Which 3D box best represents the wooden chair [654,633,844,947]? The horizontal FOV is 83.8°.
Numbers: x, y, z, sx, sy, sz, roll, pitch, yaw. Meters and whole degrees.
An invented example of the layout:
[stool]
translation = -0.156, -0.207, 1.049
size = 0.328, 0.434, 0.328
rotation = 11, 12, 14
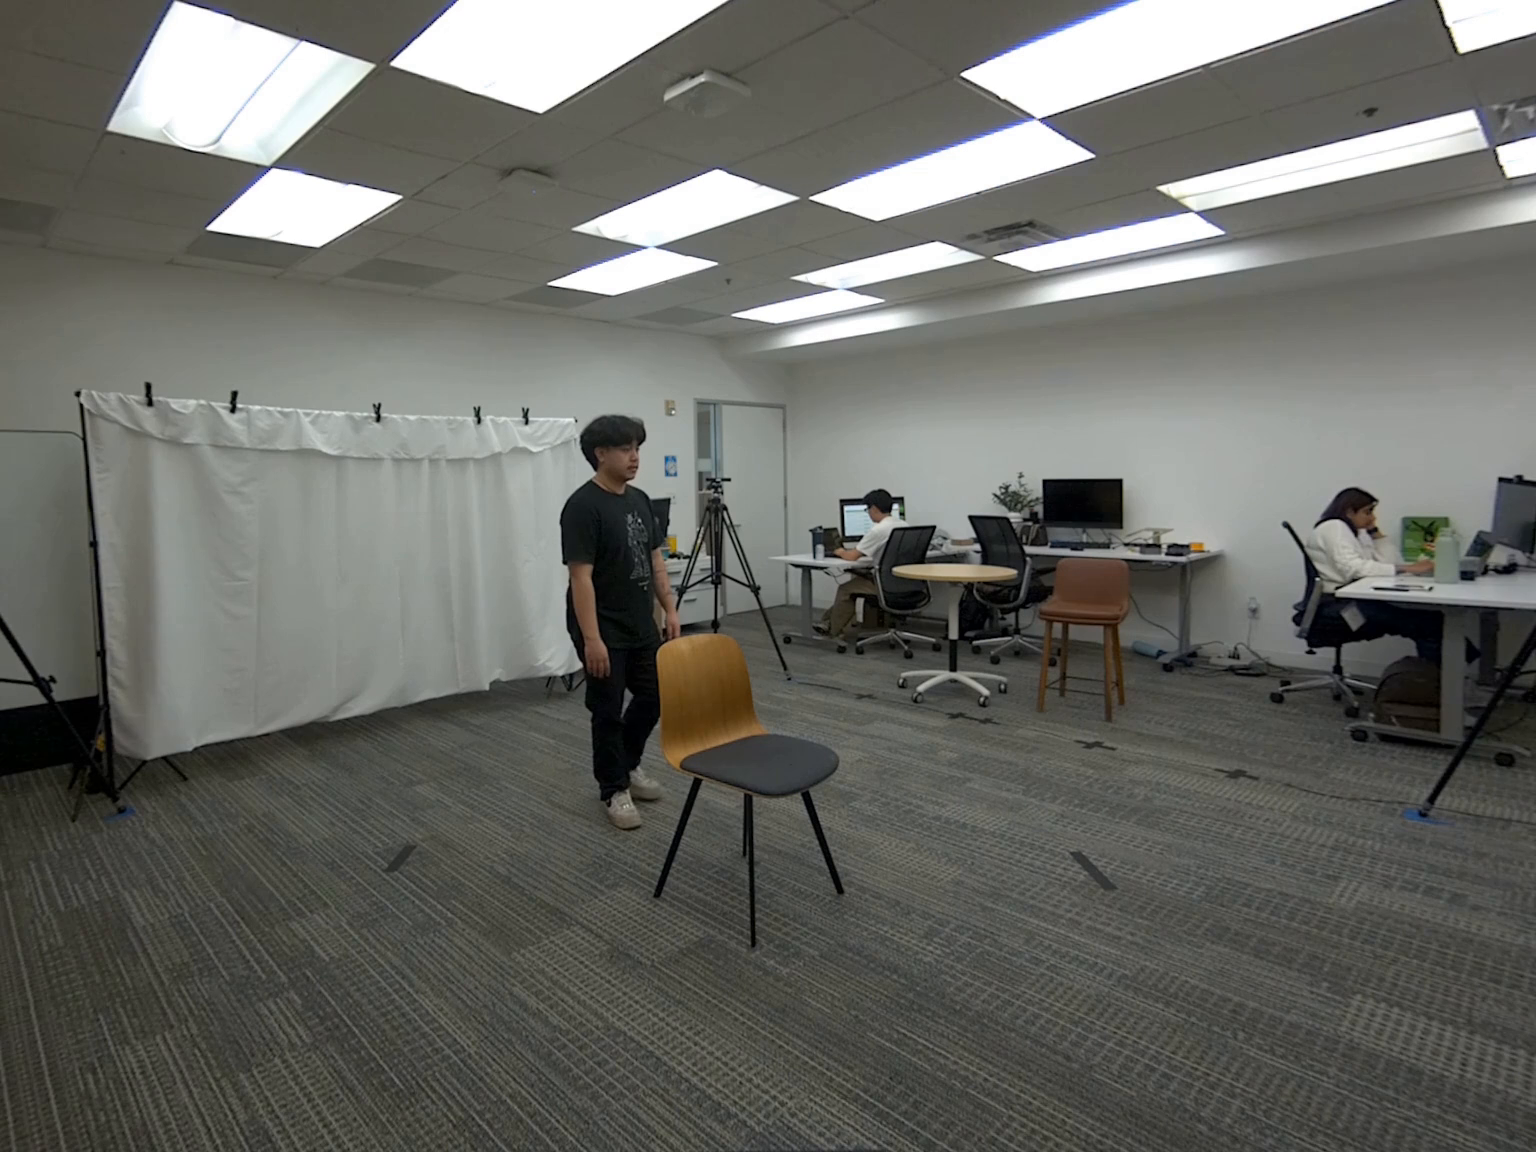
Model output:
[wooden chair]
translation = -0.062, 0.648, 2.823
size = 0.537, 0.877, 0.465
rotation = -3, 2, 43
